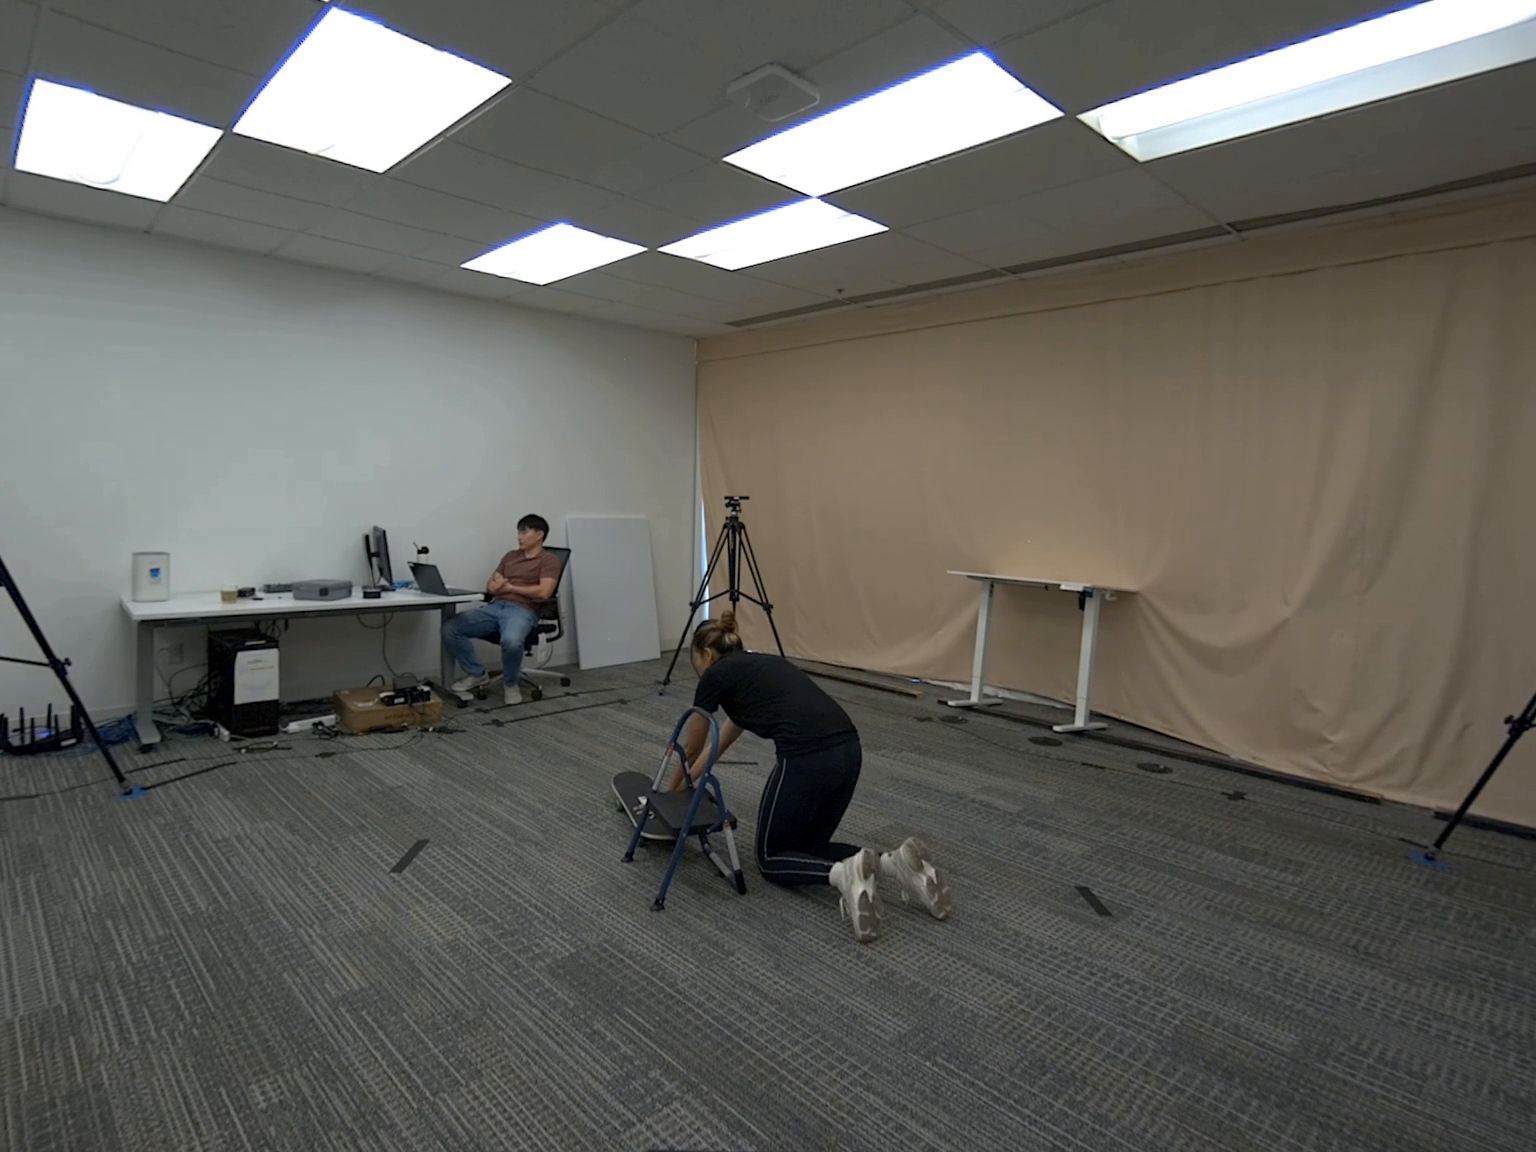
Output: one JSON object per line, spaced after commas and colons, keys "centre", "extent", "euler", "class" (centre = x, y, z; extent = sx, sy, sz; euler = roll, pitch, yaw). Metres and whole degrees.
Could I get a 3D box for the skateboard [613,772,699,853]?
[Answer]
{"centre": [-0.525, 1.003, 3.560], "extent": [0.190, 0.110, 0.799], "euler": [3, 5, -20], "class": "skateboard"}
